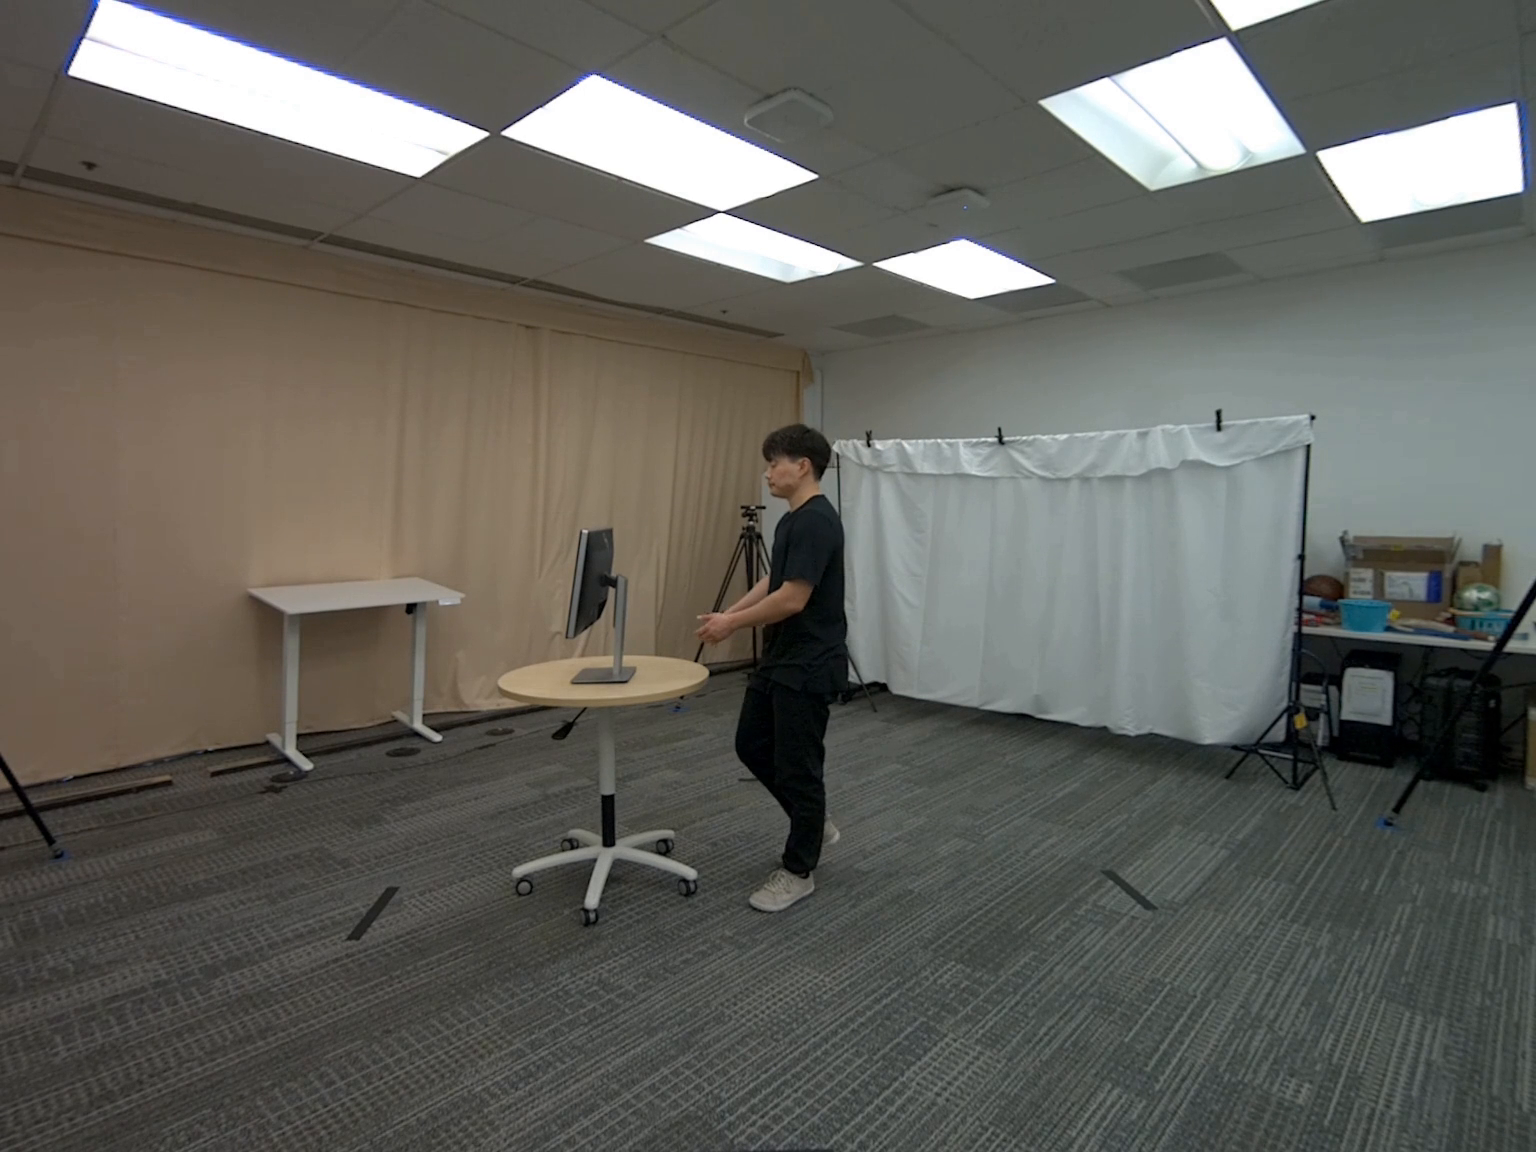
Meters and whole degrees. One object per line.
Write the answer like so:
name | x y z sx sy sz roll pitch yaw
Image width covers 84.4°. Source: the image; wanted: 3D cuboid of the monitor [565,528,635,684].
monitor | -0.592 0.105 3.042 0.187 0.521 0.541 -2 3 -2
